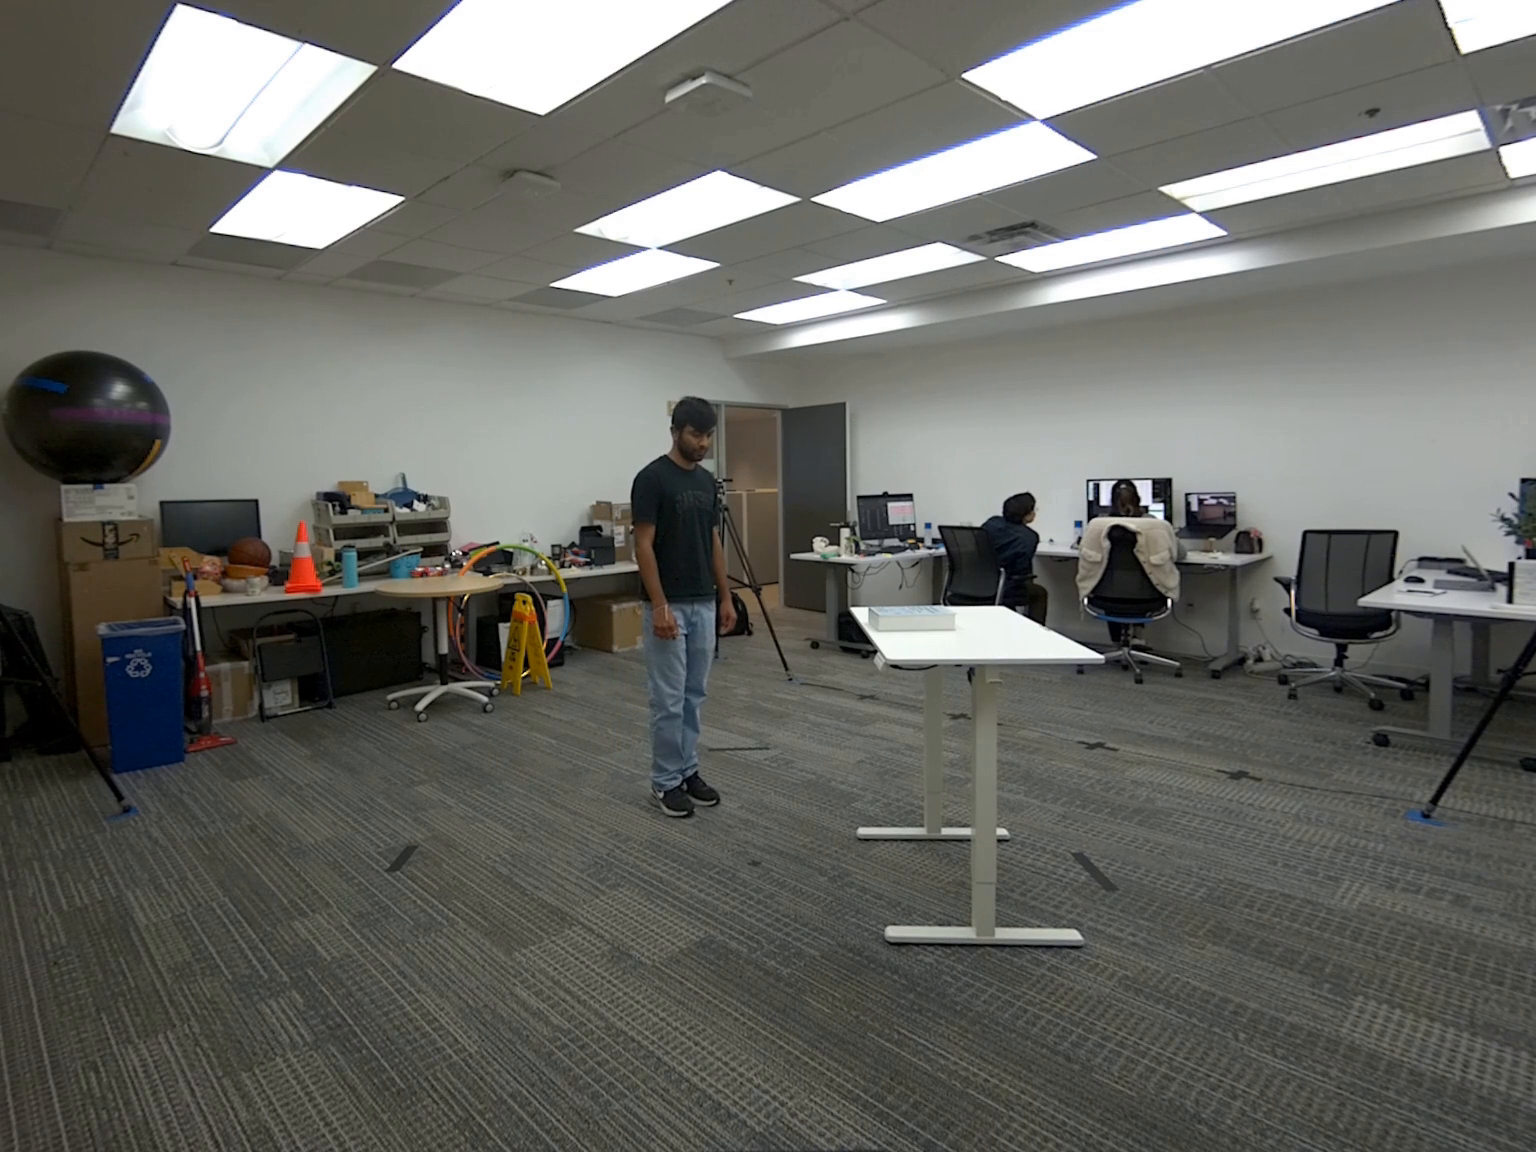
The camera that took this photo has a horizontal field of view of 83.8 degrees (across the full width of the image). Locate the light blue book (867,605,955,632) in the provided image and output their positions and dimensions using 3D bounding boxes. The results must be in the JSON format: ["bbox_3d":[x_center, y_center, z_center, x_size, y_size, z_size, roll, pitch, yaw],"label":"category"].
[{"bbox_3d":[0.488,0.143,2.925,0.261,0.059,0.192,-1,6,-1],"label":"light blue book"}]
